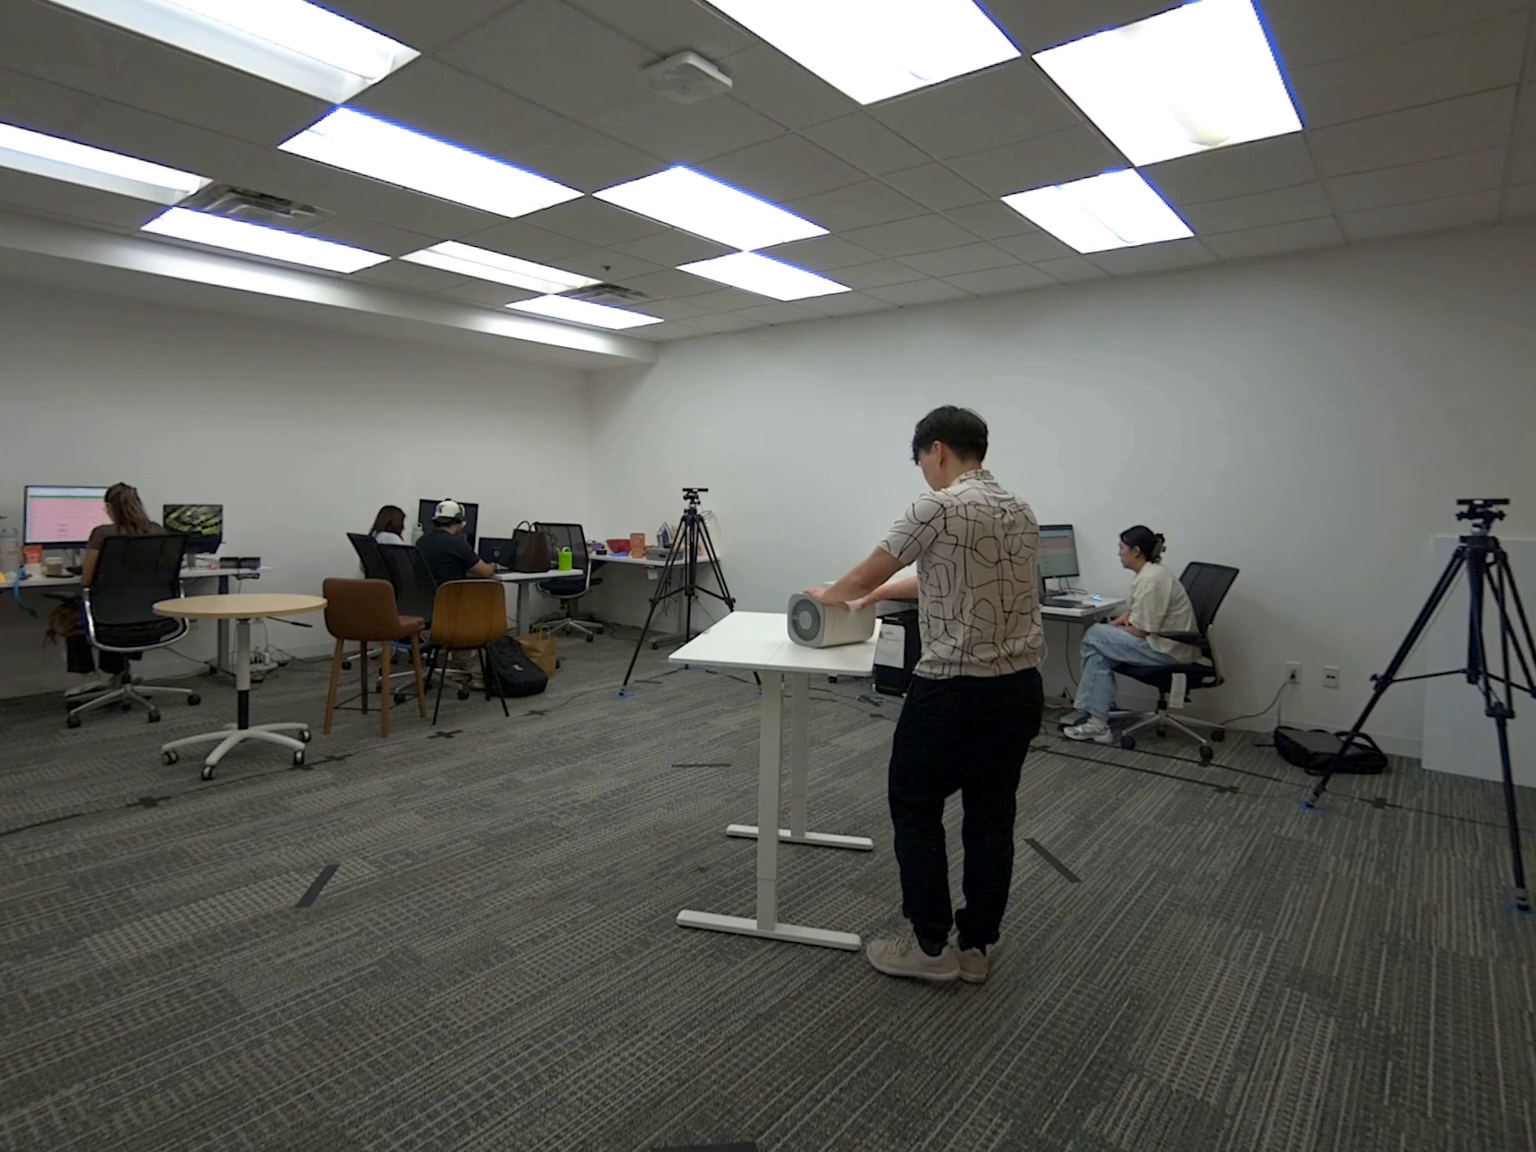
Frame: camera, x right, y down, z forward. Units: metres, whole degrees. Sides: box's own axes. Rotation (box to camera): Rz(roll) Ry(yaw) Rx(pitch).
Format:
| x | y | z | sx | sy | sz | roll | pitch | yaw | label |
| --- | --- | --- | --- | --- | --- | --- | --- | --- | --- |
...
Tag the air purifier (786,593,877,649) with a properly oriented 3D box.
| x | y | z | sx | sy | sz | roll | pitch | yaw | label |
| --- | --- | --- | --- | --- | --- | --- | --- | --- | --- |
| 0.211 | 0.135 | 2.859 | 0.257 | 0.170 | 0.178 | -3 | 8 | -39 | air purifier |
